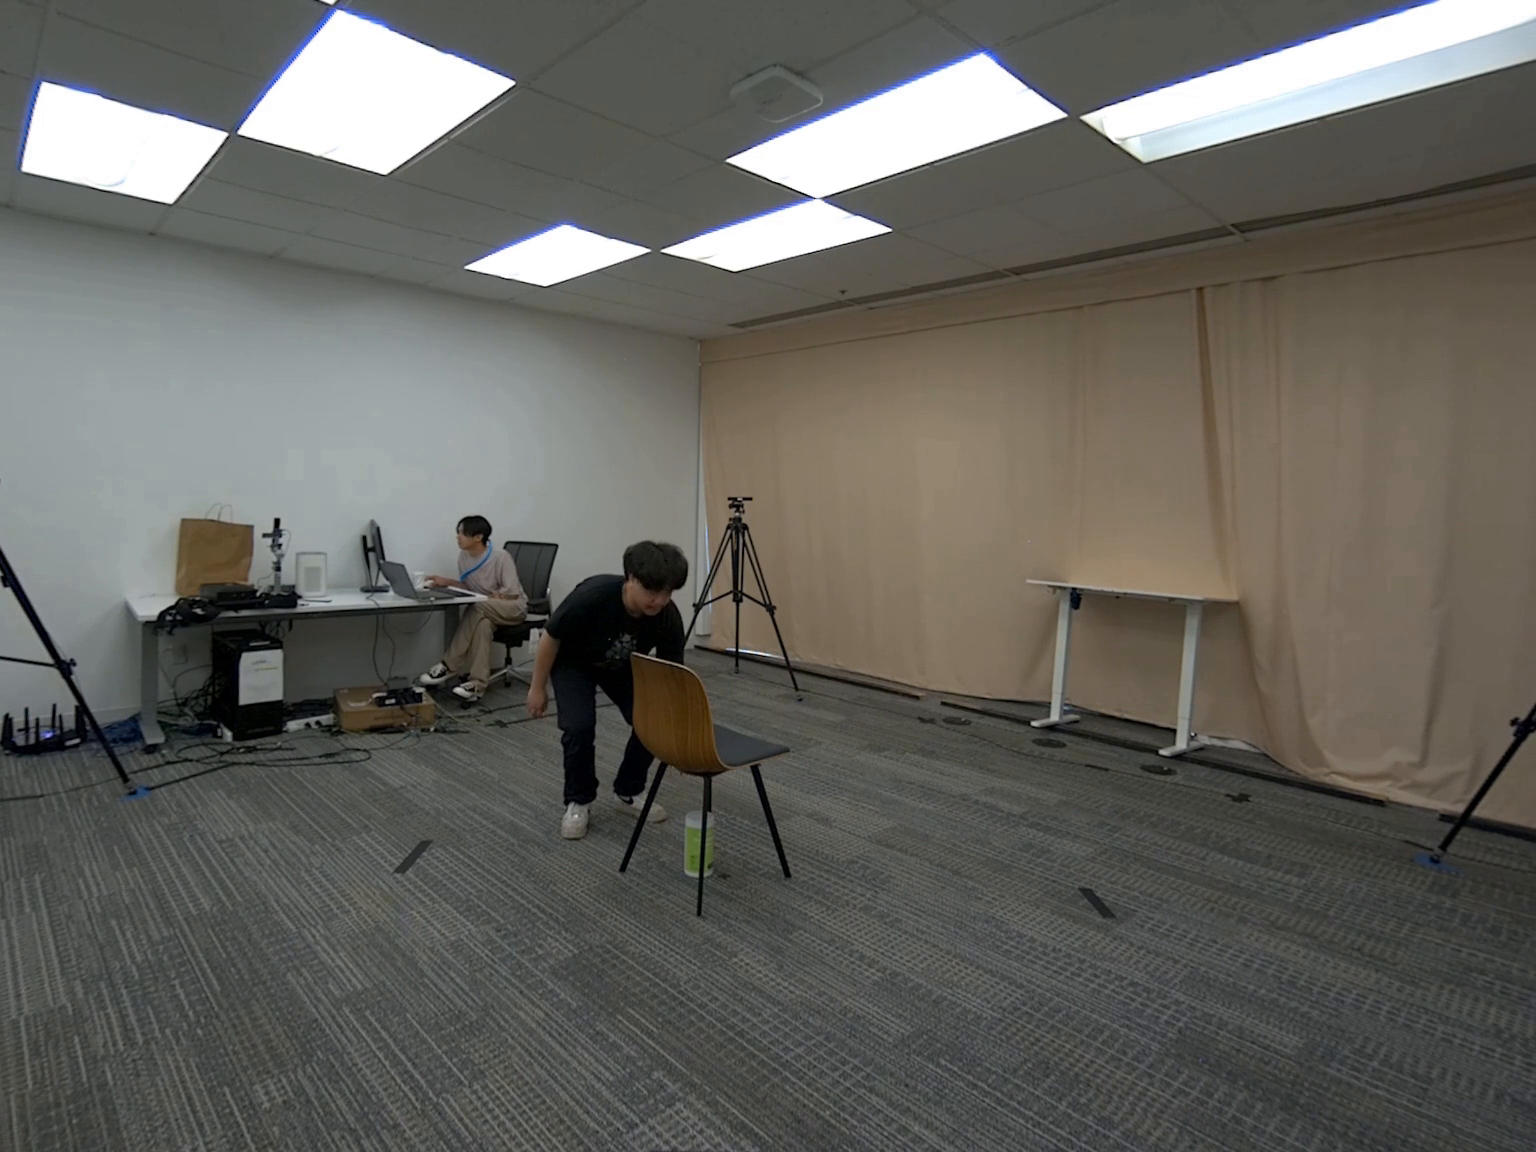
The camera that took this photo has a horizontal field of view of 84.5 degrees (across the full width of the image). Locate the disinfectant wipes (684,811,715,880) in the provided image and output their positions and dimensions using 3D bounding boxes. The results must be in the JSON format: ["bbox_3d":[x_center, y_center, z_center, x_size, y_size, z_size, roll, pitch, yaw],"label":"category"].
[{"bbox_3d":[-0.271,1.011,3.115,0.118,0.217,0.118,0,4,-1],"label":"disinfectant wipes"}]
